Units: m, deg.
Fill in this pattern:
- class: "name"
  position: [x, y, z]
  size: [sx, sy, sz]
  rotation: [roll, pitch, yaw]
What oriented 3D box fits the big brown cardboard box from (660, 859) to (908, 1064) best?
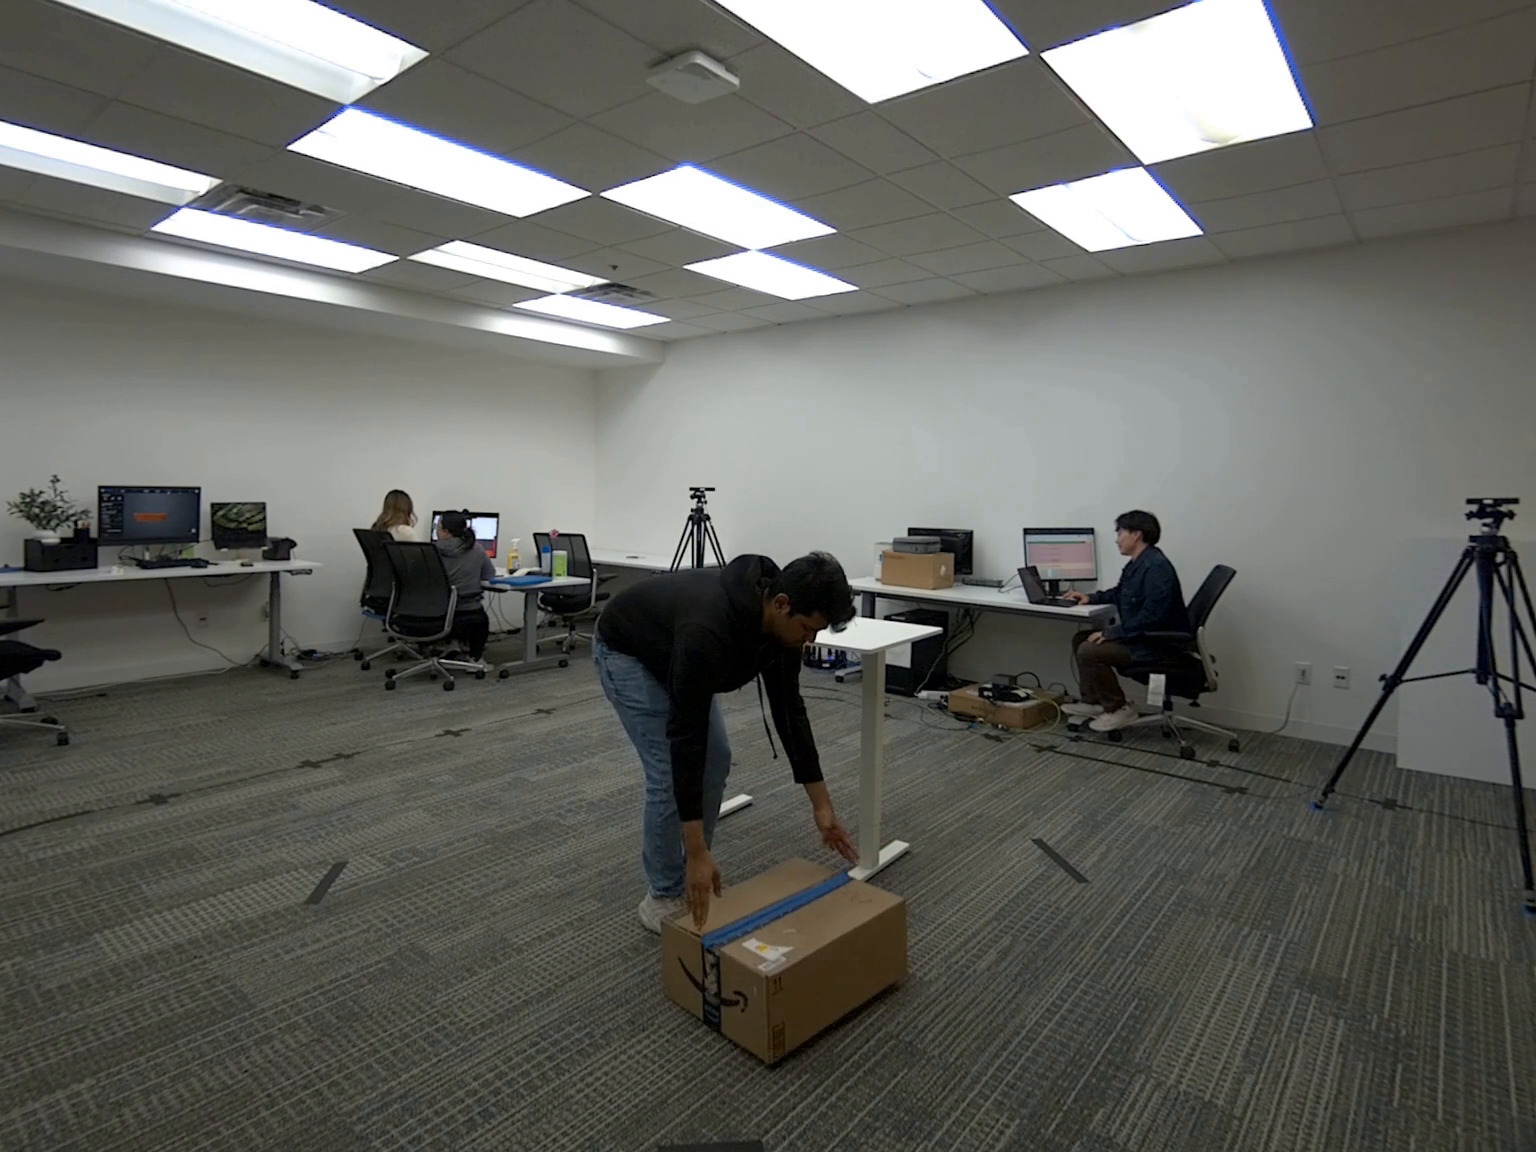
- class: "big brown cardboard box"
  position: [0.045, 1.003, 2.356]
  size: [0.571, 0.232, 0.431]
  rotation: [-4, 5, -44]
